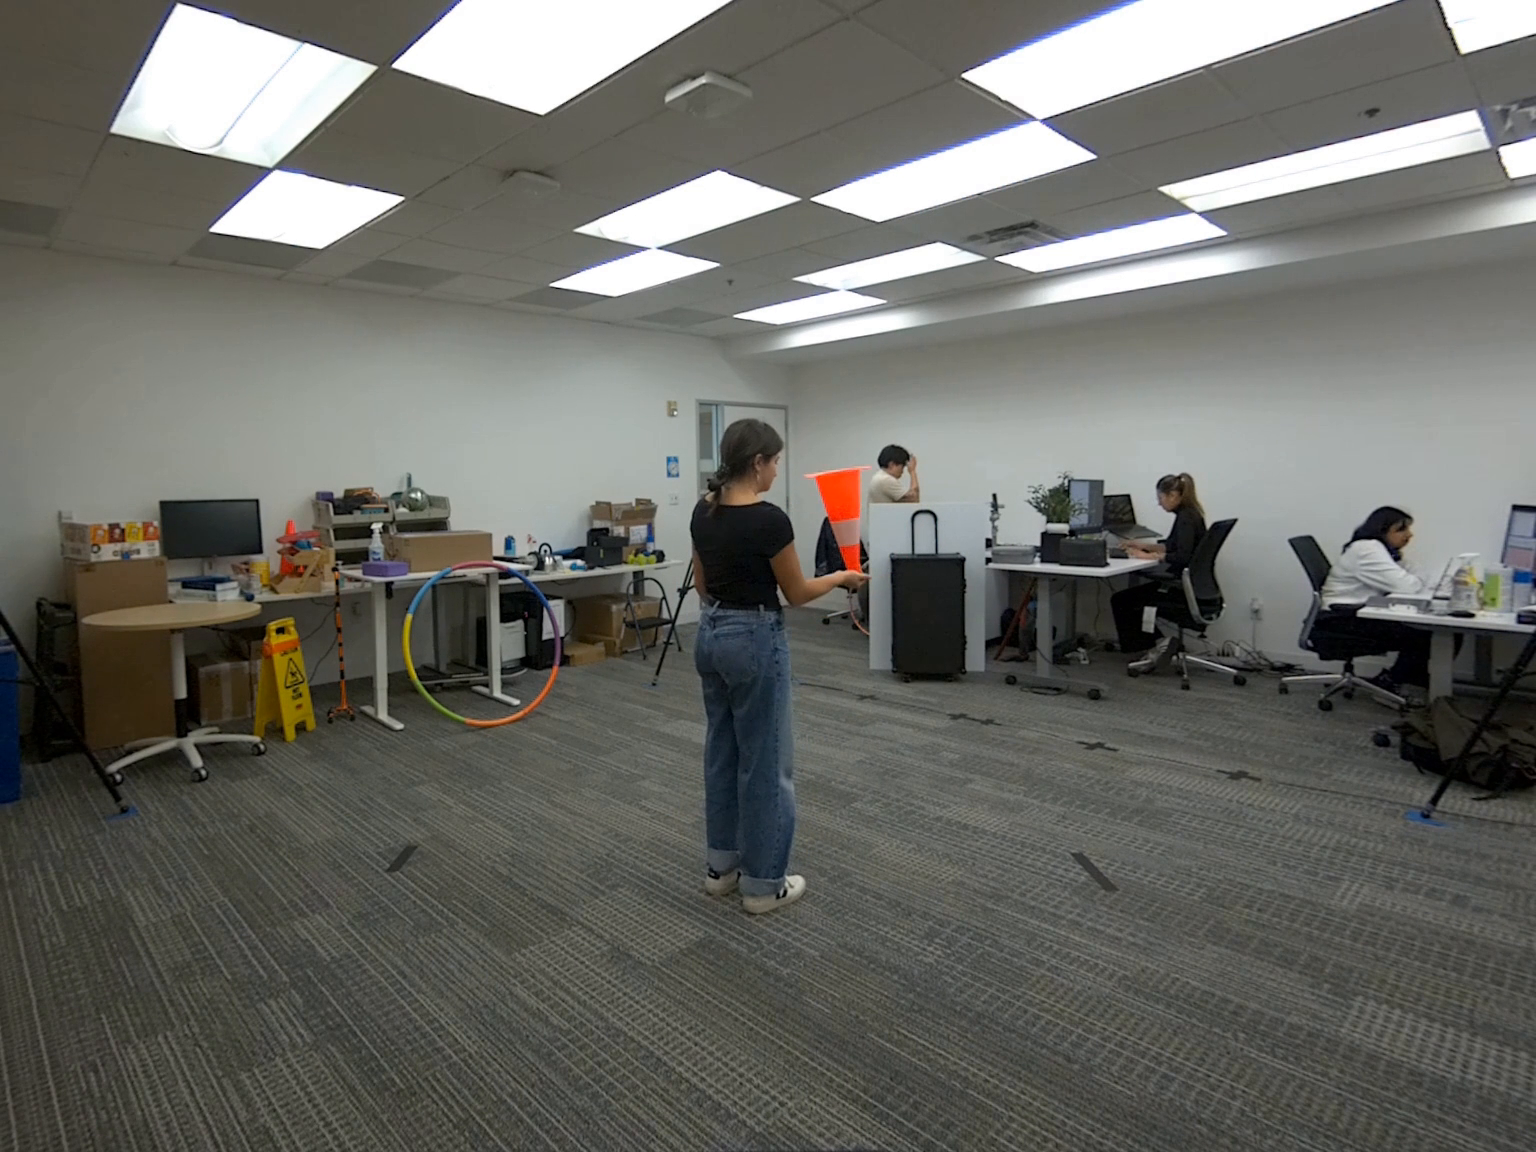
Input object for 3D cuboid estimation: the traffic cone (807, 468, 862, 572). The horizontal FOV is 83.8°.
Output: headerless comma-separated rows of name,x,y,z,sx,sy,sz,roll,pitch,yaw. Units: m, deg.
traffic cone,0.270,-0.161,2.981,0.203,0.381,0.206,-9,6,-12
